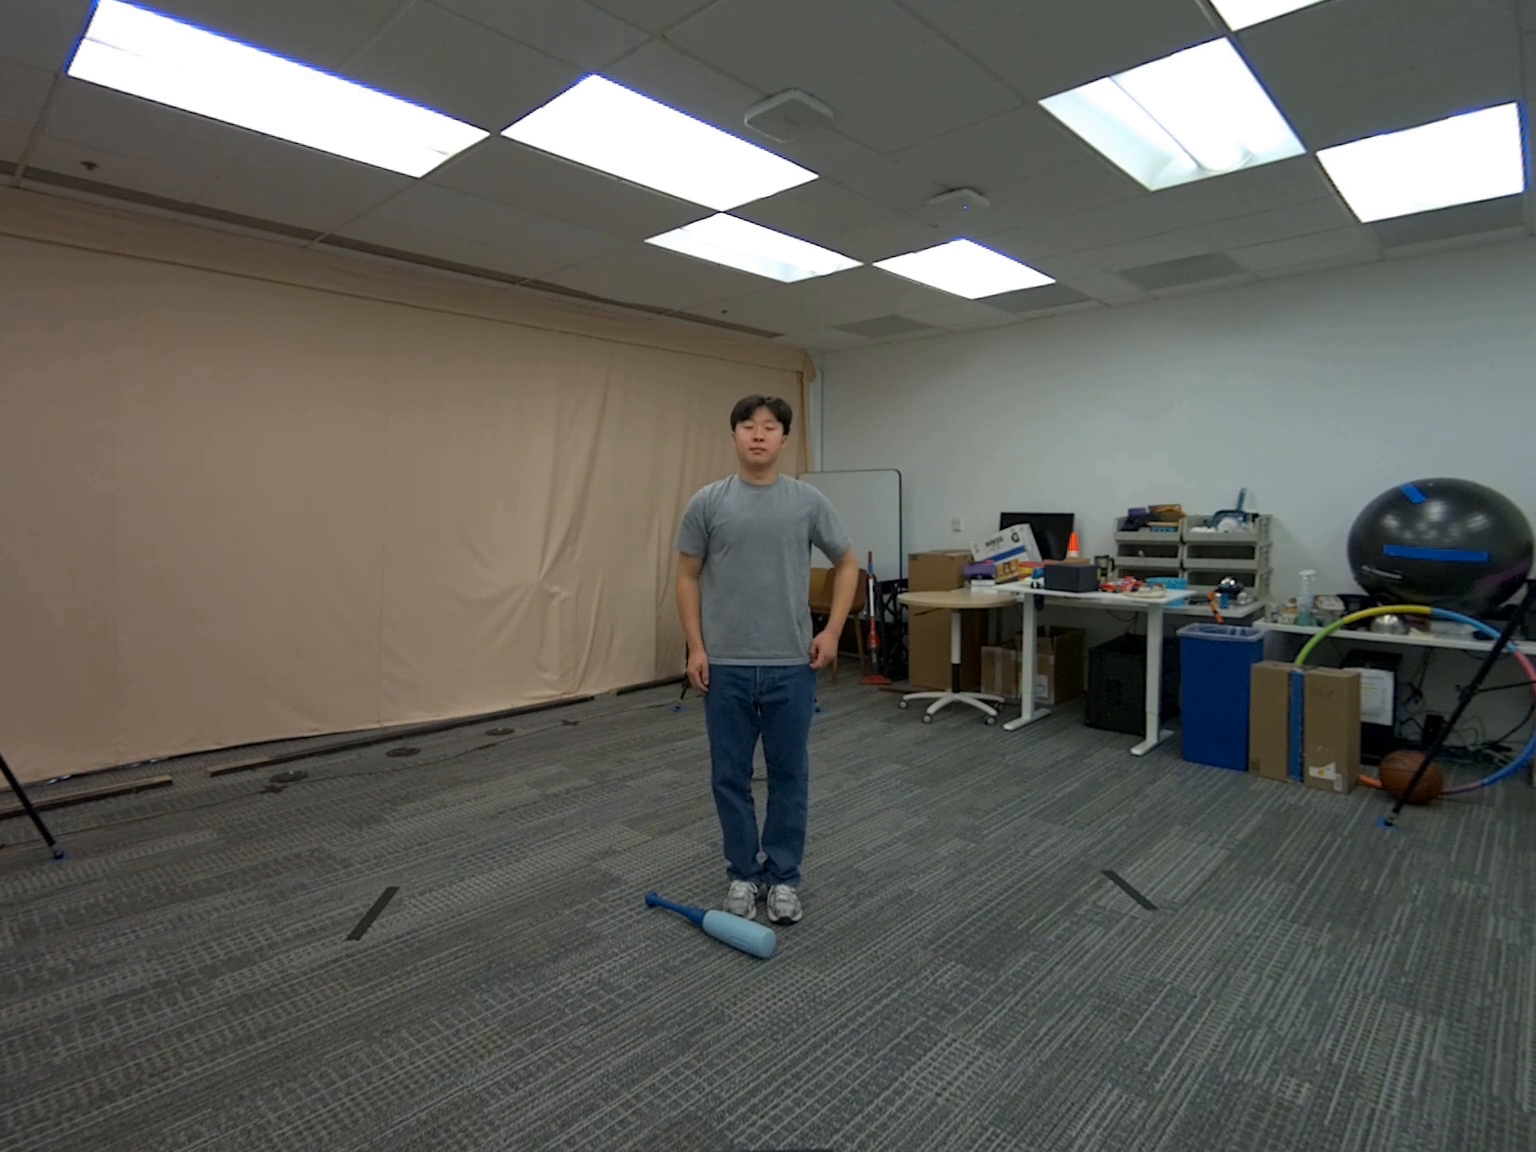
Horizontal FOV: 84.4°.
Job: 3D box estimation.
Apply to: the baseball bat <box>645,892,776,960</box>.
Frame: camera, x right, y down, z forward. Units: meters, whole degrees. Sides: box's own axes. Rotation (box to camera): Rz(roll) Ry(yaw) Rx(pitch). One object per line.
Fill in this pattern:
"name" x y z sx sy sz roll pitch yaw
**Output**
"baseball bat" -0.202 1.128 2.756 0.560 0.089 0.086 0 3 40
